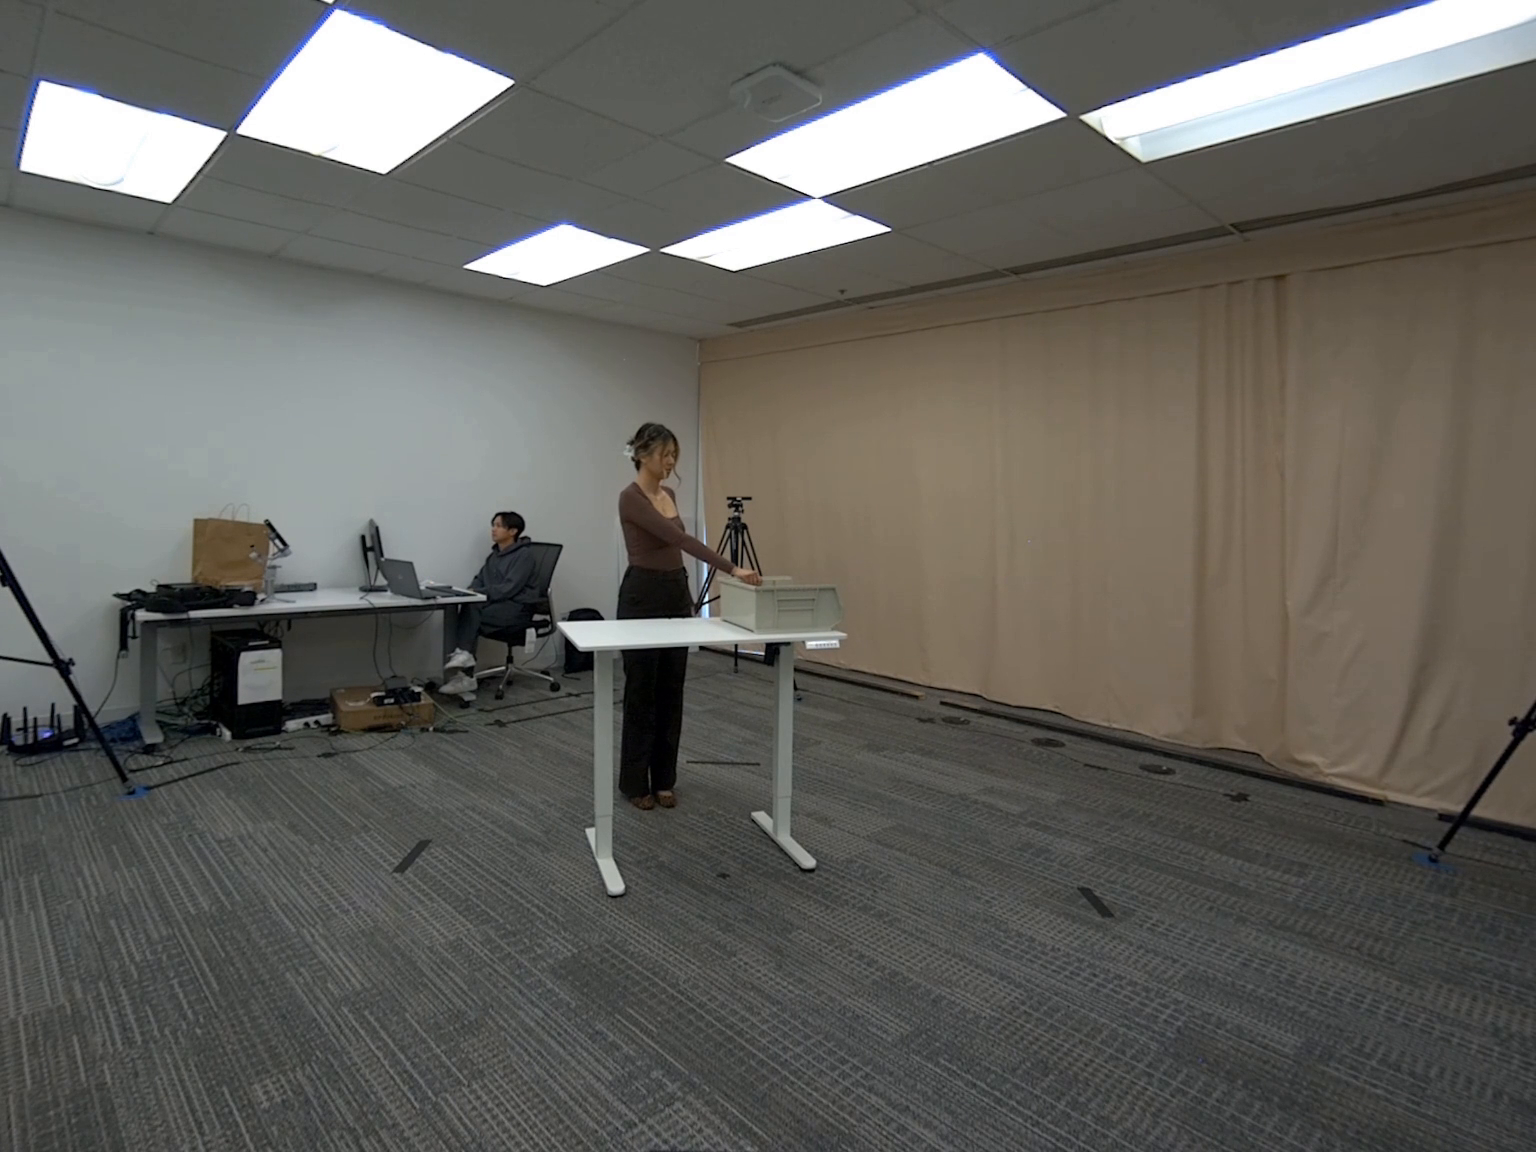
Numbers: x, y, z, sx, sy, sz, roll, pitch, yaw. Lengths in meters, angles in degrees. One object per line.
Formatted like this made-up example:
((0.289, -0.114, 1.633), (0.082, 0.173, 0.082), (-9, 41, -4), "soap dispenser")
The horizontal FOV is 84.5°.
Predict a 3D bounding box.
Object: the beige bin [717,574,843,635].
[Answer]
((0.038, 0.111, 3.380), (0.371, 0.188, 0.430), (-2, 6, -22), "beige bin")
